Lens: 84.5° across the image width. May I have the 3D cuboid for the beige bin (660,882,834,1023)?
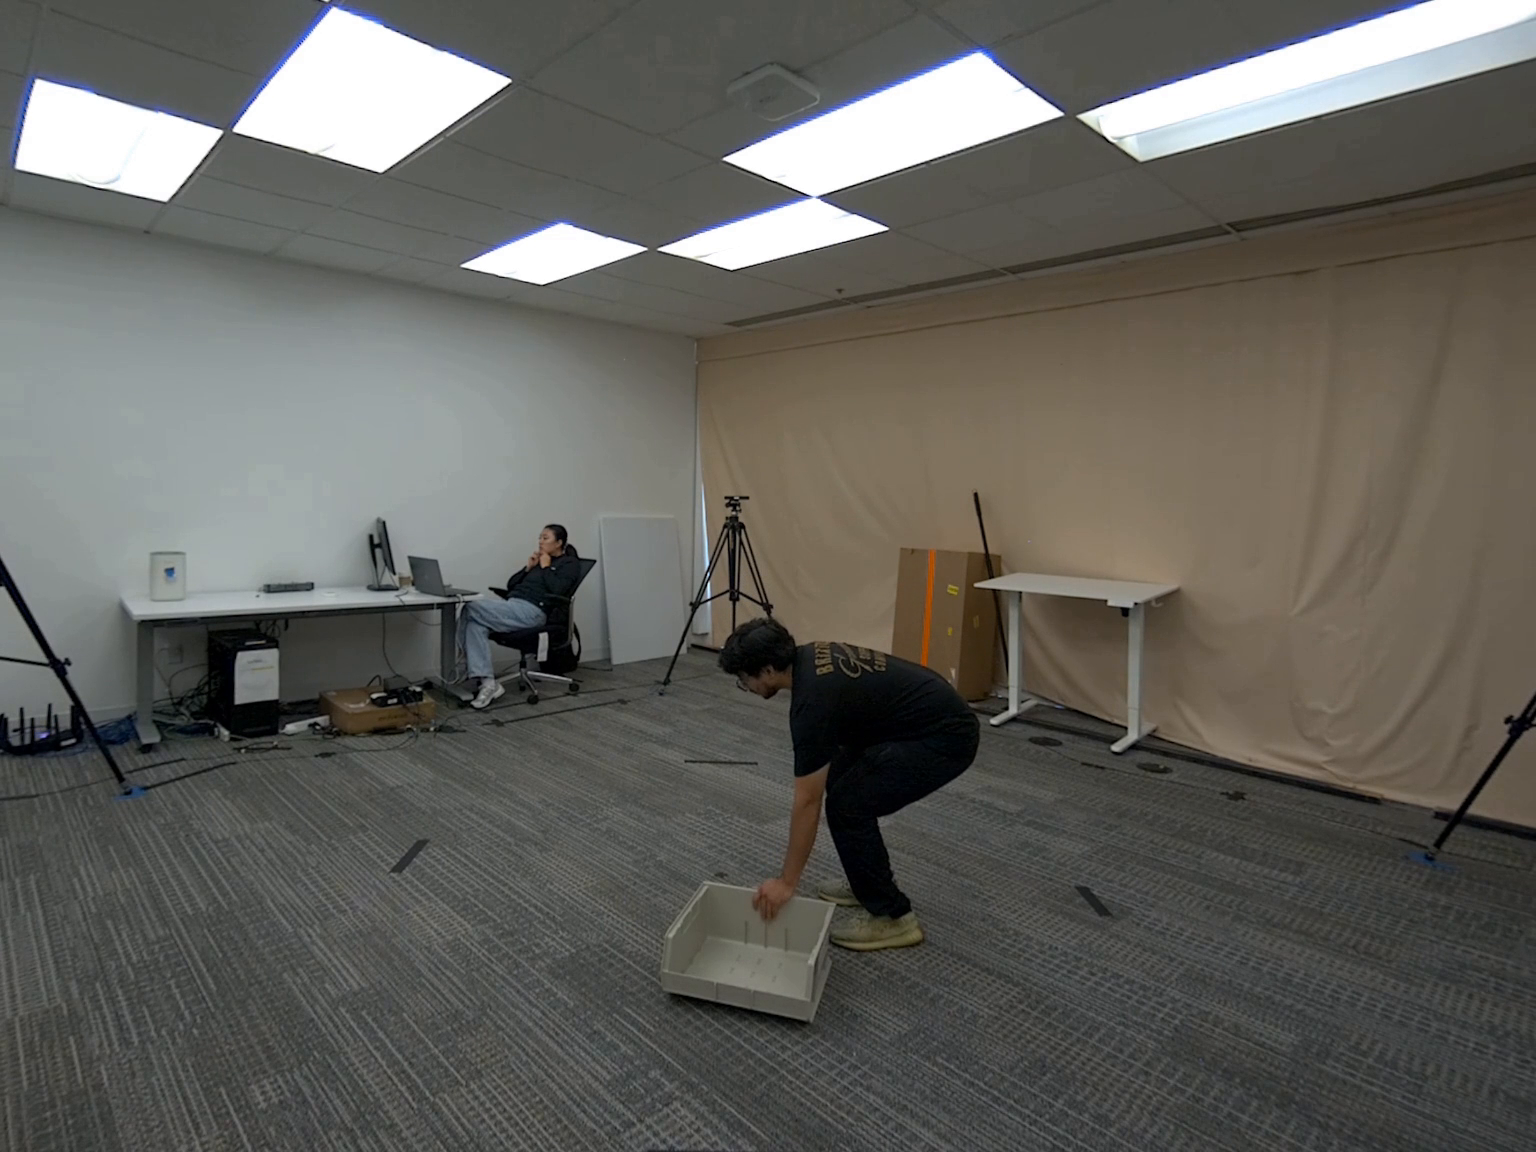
[{"bbox_3d":[-0.048,1.083,2.416,0.428,0.188,0.373,2,4,15],"label":"beige bin"}]
